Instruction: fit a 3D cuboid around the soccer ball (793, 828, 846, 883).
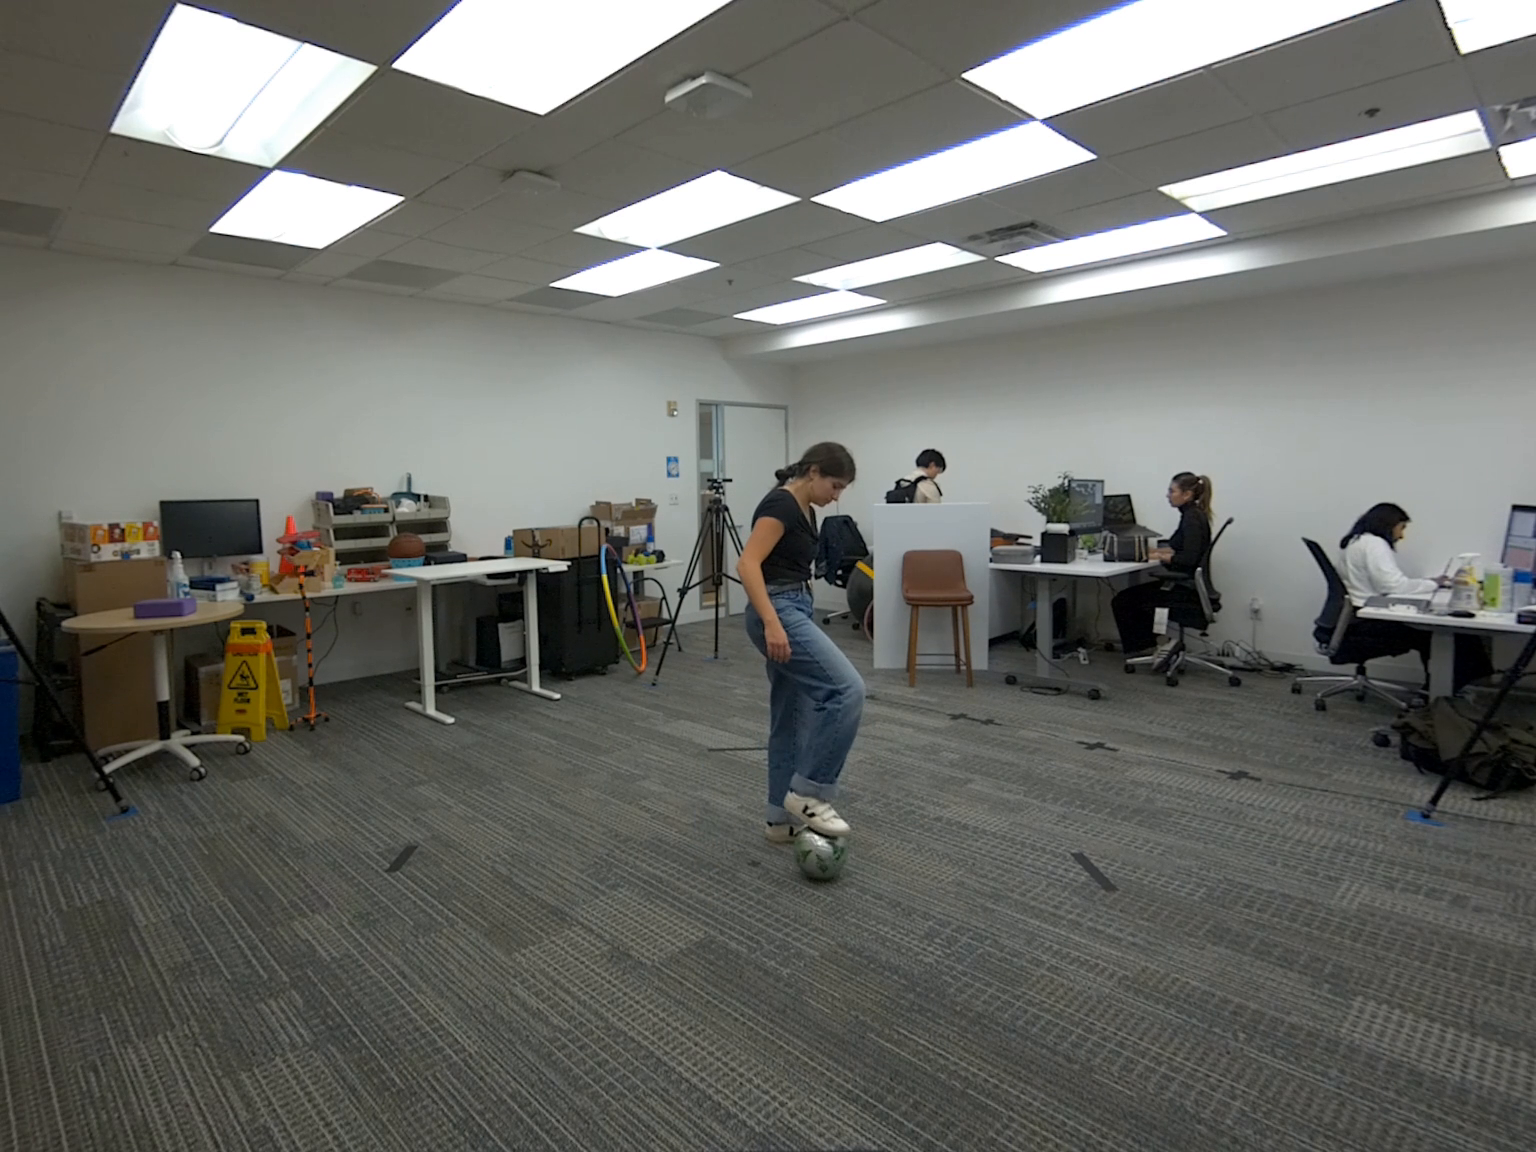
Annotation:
[{"bbox_3d":[0.184,0.969,2.997,0.187,0.187,0.188,-1,5,-2],"label":"soccer ball"}]
